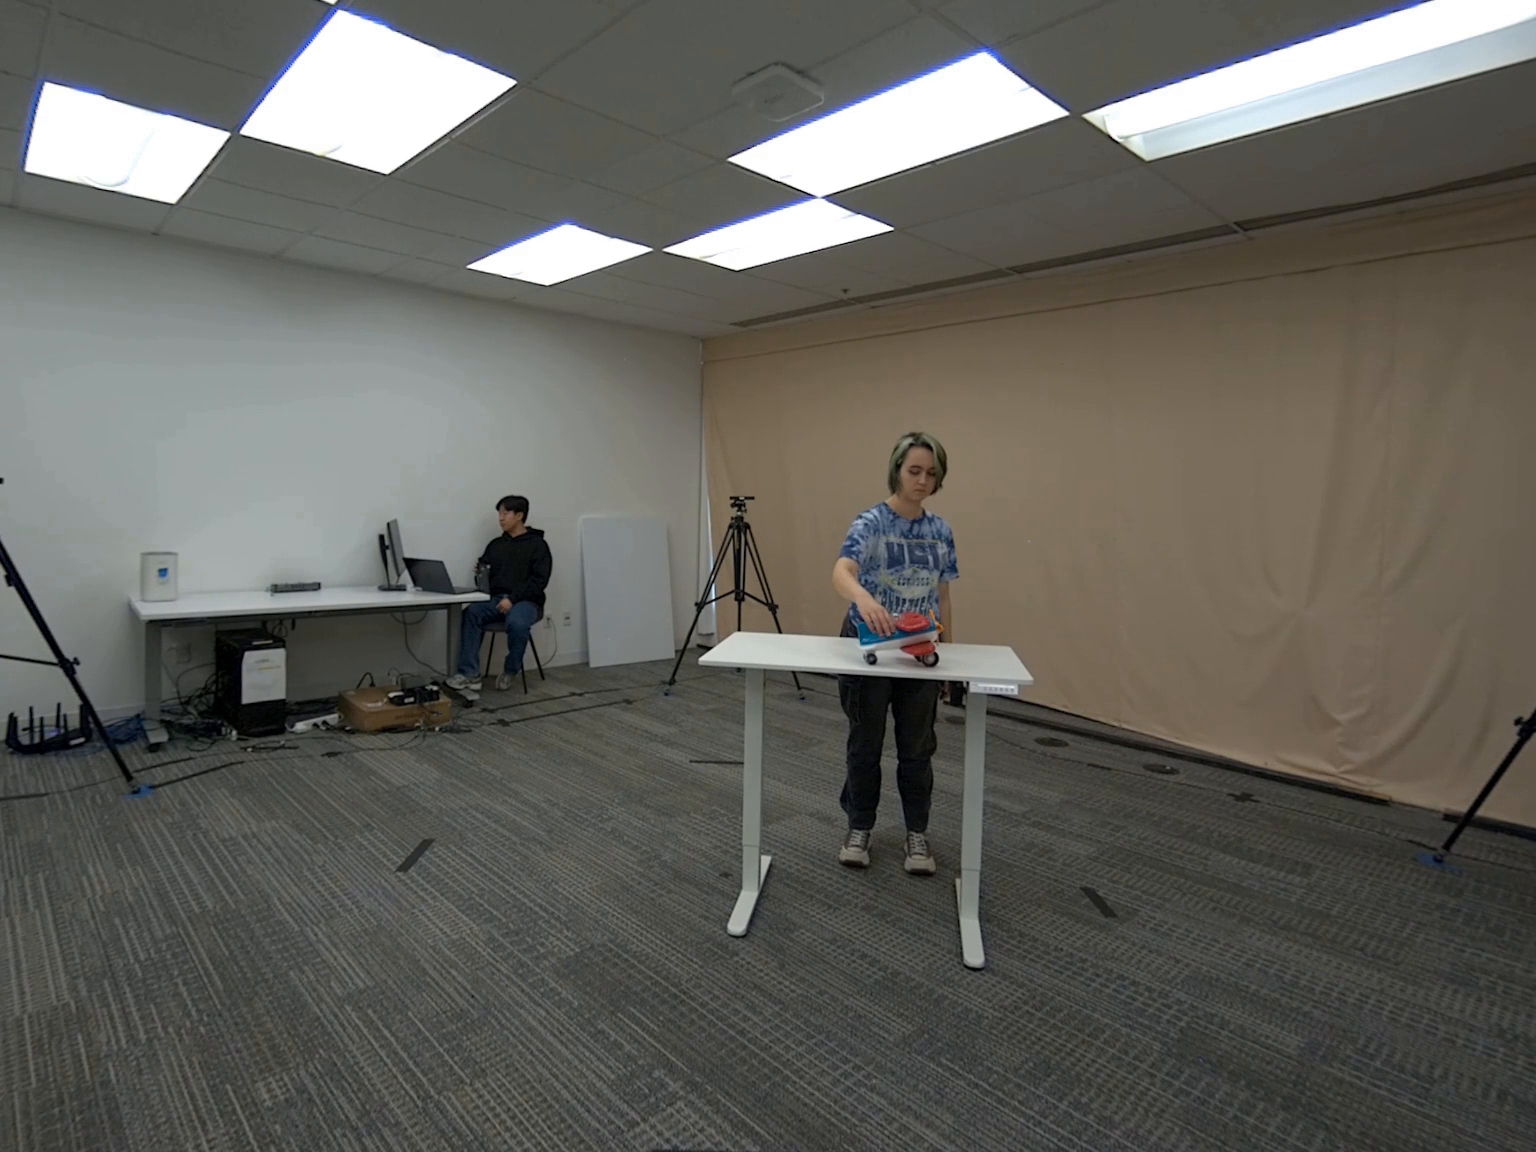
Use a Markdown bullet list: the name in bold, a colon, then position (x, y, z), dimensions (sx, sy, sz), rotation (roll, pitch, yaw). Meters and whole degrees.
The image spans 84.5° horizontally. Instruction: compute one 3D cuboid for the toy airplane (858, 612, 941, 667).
- **toy airplane**: position (0.409, 0.203, 2.611), dimensions (0.254, 0.156, 0.257), rotation (1, 5, -29)
